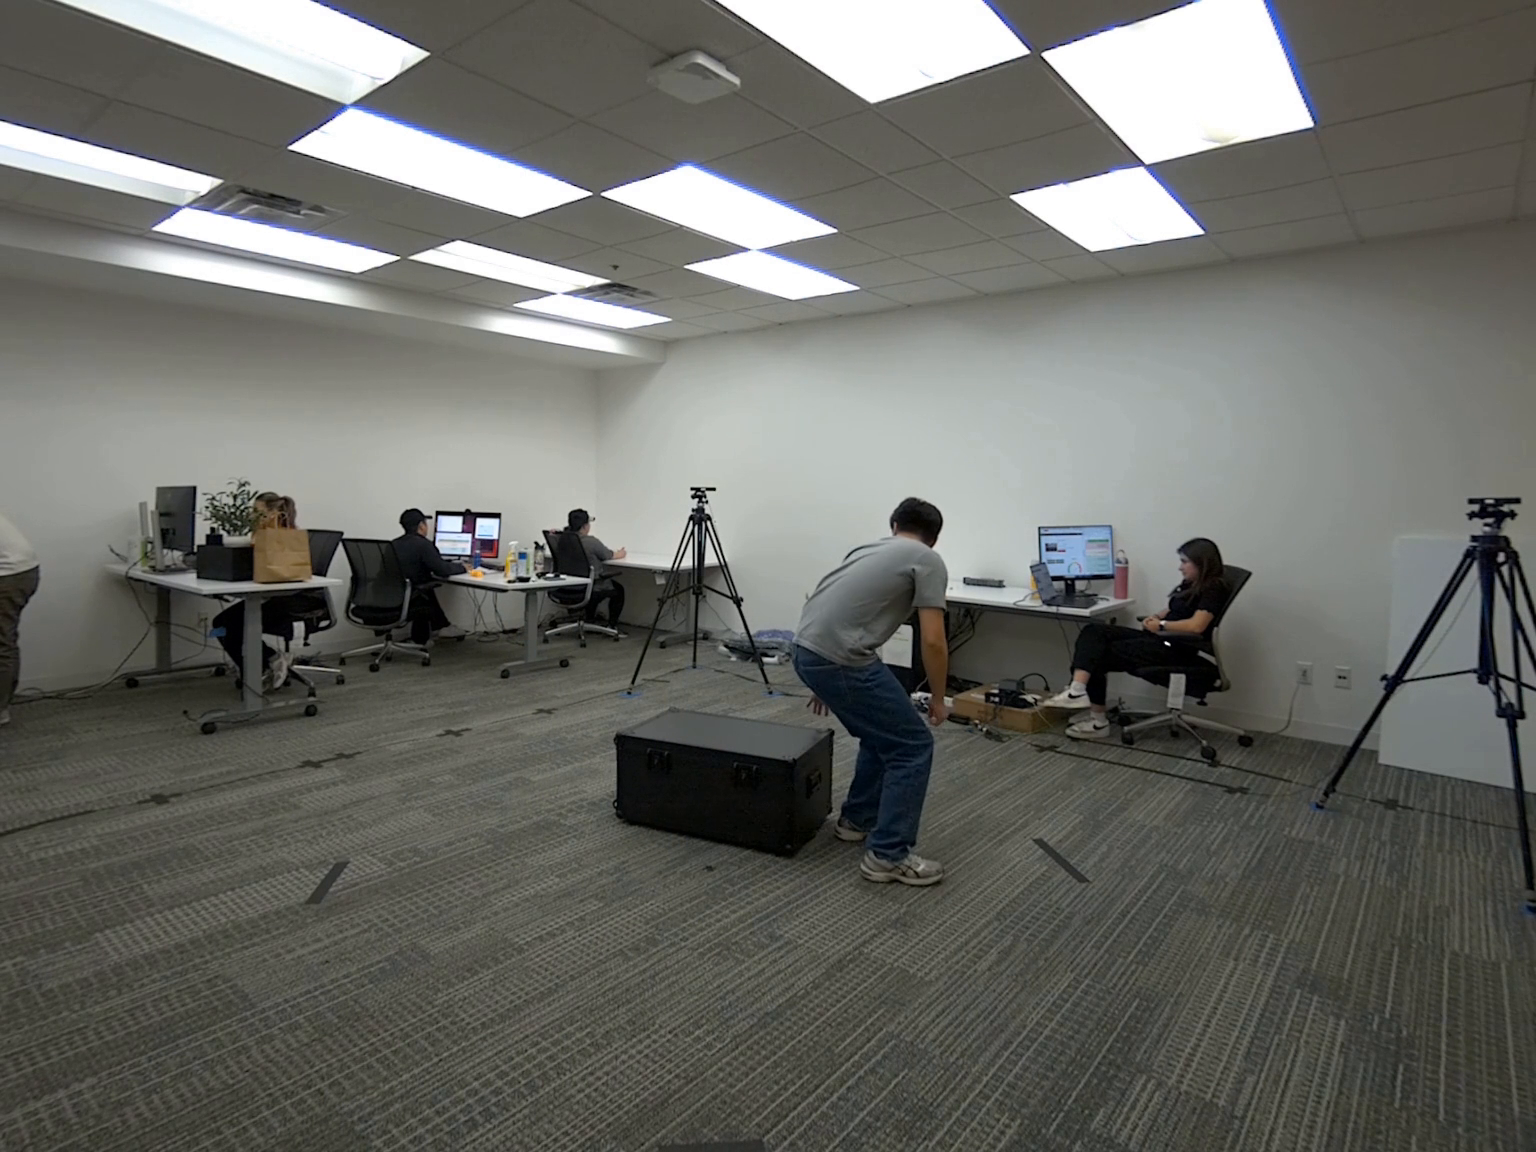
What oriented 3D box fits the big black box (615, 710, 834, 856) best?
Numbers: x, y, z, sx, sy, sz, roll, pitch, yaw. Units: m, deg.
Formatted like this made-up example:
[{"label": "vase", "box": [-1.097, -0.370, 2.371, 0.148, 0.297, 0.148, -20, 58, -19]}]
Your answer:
[{"label": "big black box", "box": [-0.216, 0.831, 3.573, 0.884, 0.394, 0.510, 4, 6, 24]}]
